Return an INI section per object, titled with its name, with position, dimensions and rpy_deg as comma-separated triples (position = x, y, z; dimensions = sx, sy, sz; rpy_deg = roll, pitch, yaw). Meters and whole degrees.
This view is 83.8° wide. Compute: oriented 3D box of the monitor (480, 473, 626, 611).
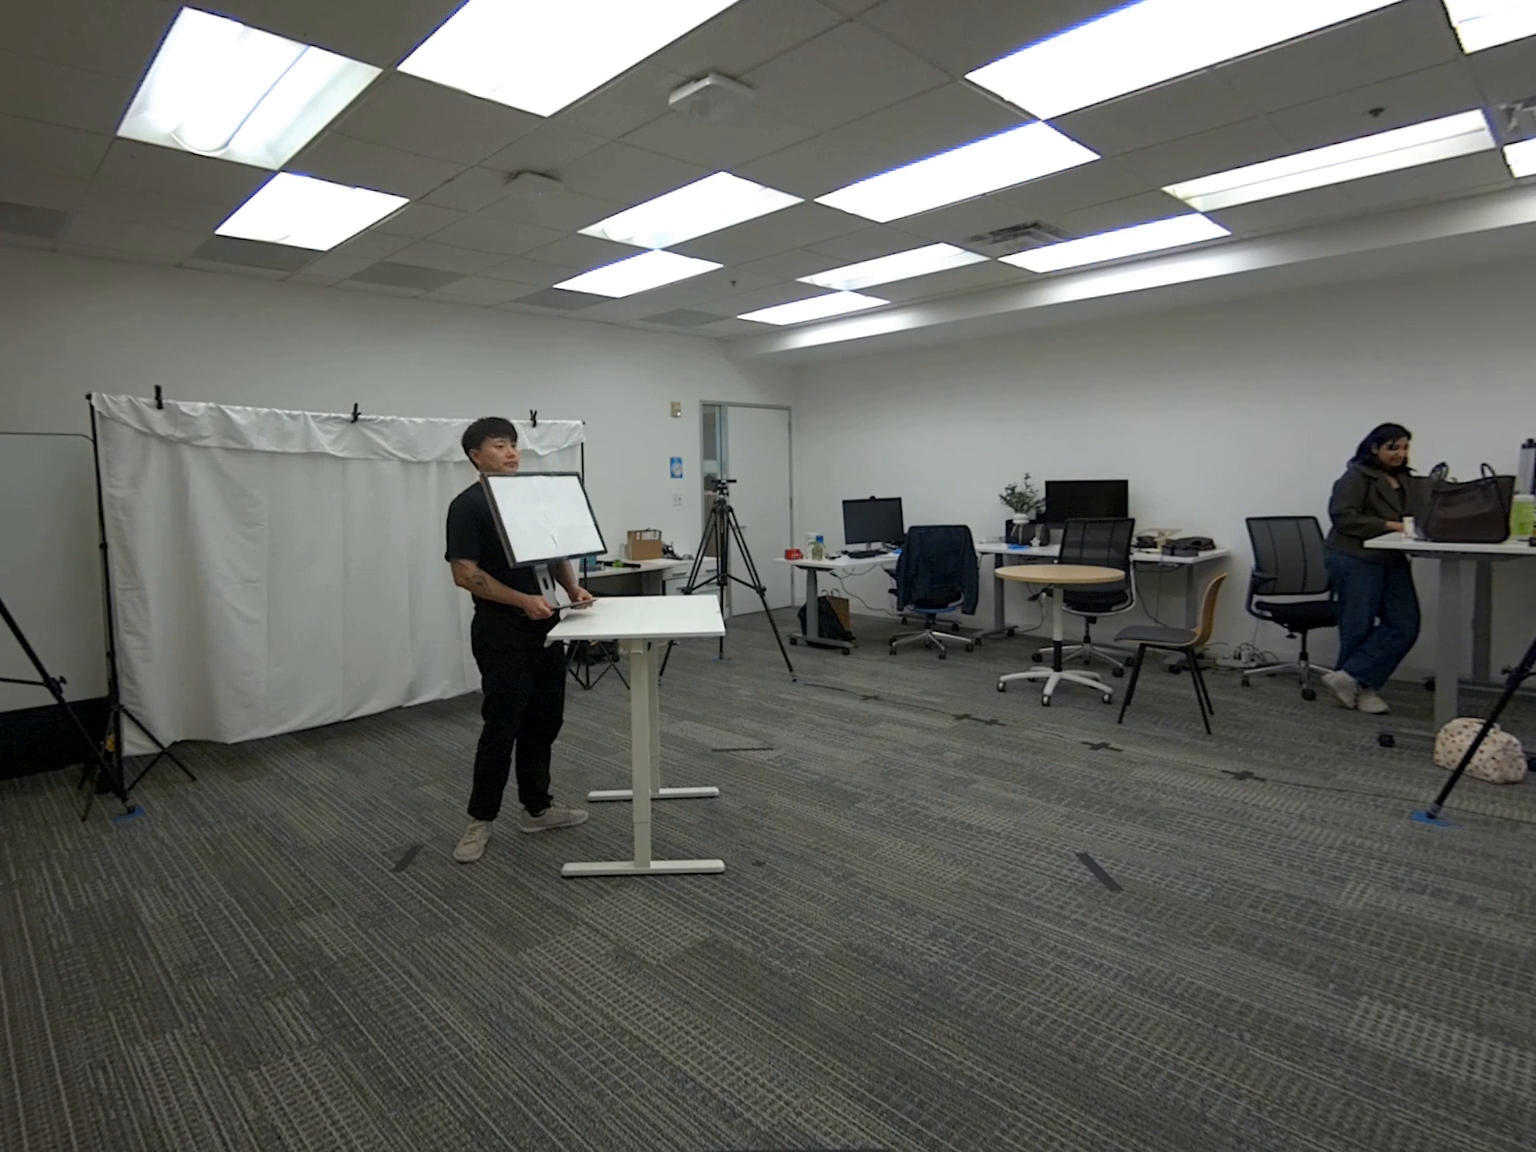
[monitor]
position = -0.849, -0.134, 3.281
dimensions = 0.190, 0.523, 0.529
rpy_deg = -12, -1, 25
